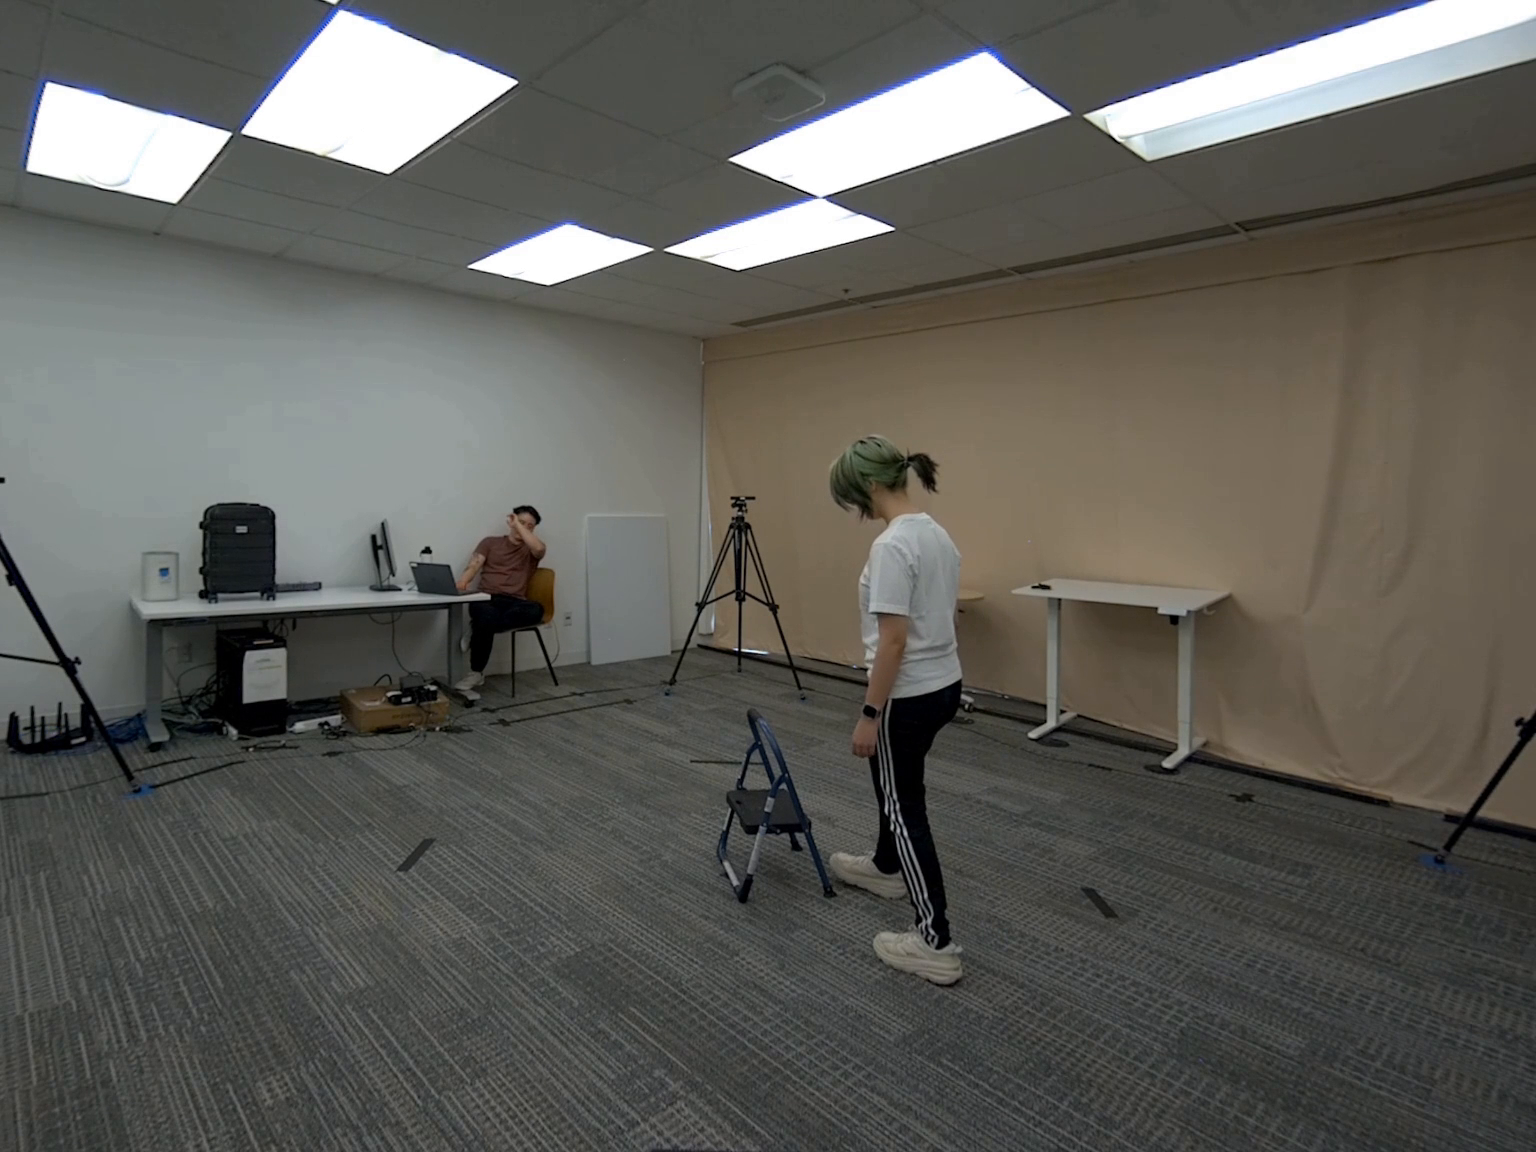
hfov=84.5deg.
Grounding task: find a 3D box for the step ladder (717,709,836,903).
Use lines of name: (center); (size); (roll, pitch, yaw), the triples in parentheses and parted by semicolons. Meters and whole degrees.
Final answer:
step ladder: (0.013, 0.807, 3.110); (0.345, 0.605, 0.436); (0, 3, -14)
